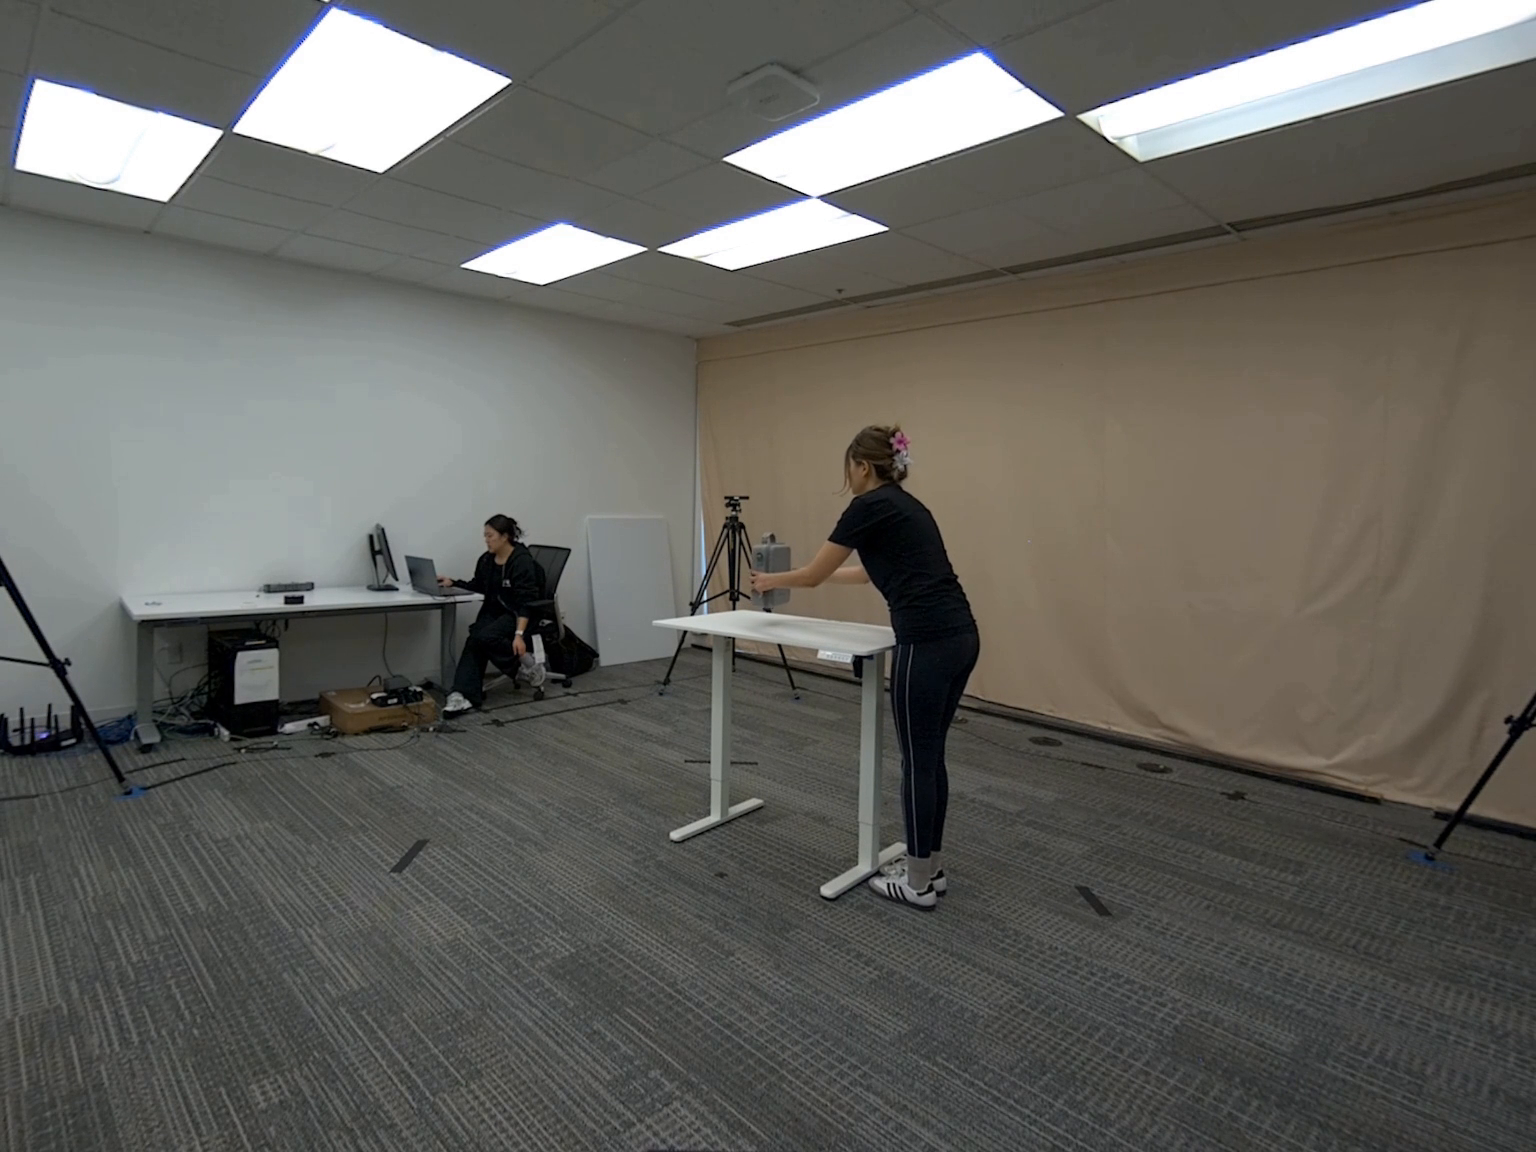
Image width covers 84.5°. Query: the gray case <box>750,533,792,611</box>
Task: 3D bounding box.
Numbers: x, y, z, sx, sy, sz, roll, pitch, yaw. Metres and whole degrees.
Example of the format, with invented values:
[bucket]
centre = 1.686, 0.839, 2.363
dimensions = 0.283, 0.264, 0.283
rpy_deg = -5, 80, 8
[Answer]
[gray case]
centre = 0.003, -0.007, 3.430
dimensions = 0.106, 0.260, 0.253
rpy_deg = 3, 1, 21
